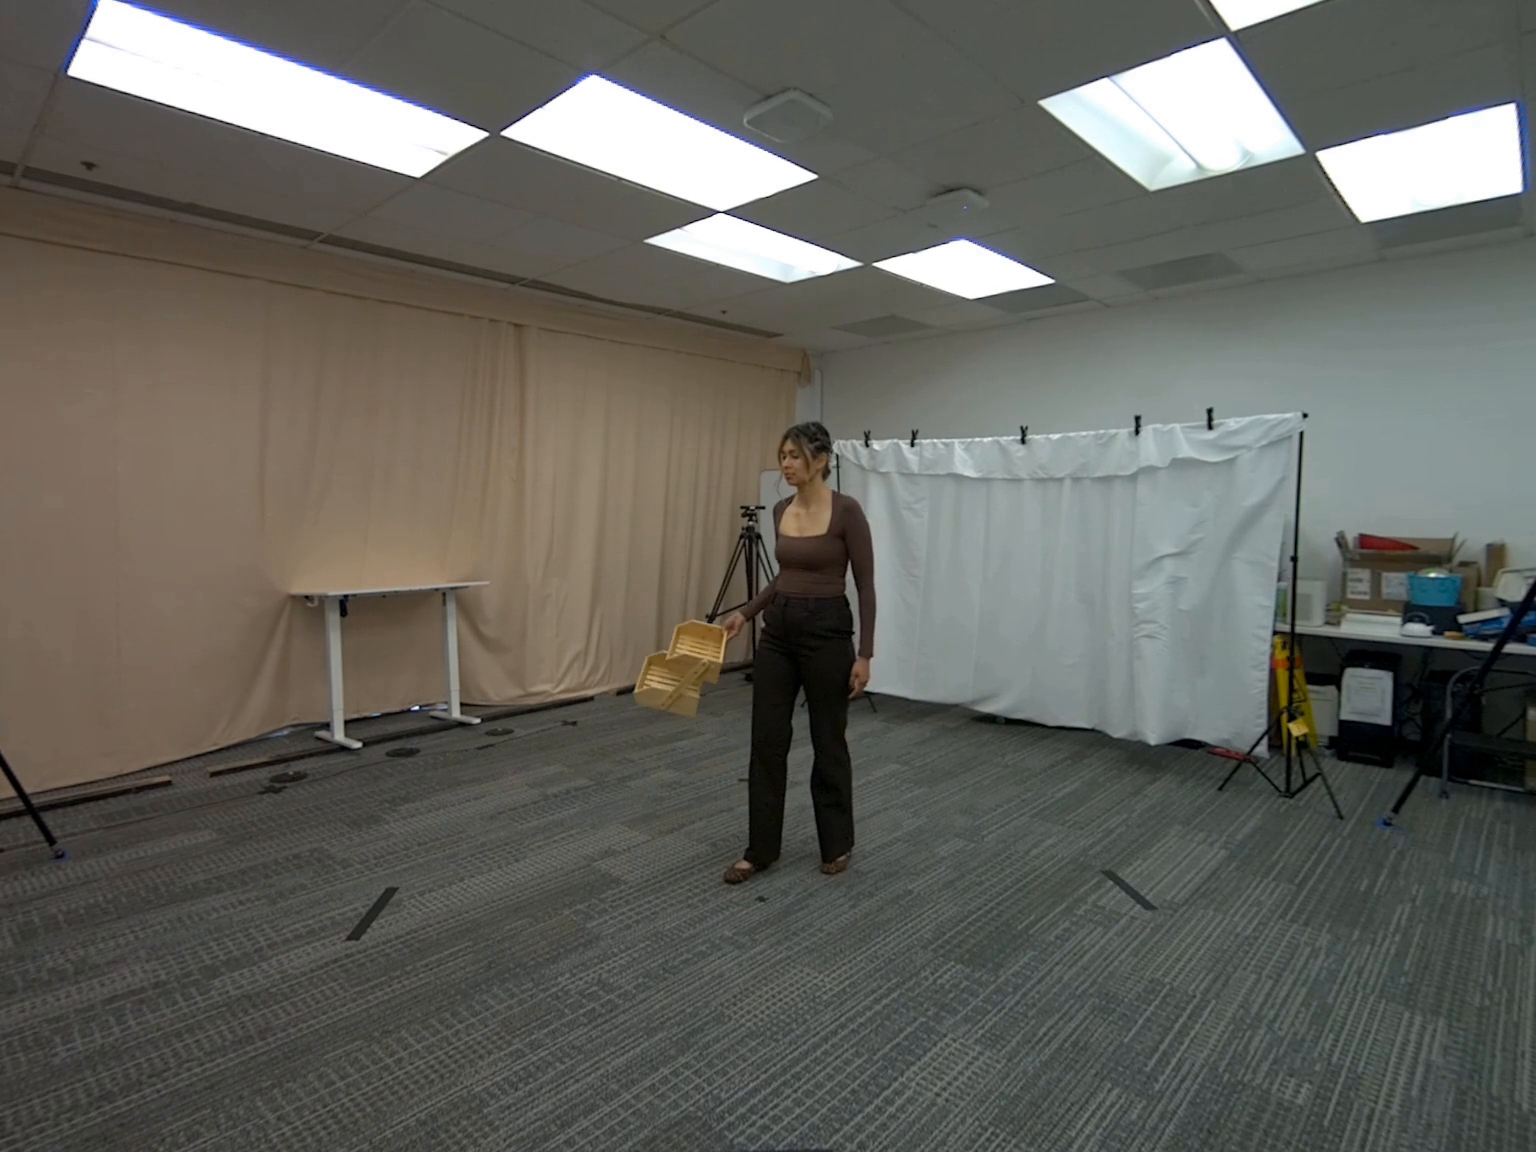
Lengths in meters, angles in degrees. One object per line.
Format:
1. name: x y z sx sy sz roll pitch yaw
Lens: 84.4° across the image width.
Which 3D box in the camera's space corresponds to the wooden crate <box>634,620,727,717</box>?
1. wooden crate: -0.339 0.346 3.341 0.302 0.271 0.327 14 21 -2
